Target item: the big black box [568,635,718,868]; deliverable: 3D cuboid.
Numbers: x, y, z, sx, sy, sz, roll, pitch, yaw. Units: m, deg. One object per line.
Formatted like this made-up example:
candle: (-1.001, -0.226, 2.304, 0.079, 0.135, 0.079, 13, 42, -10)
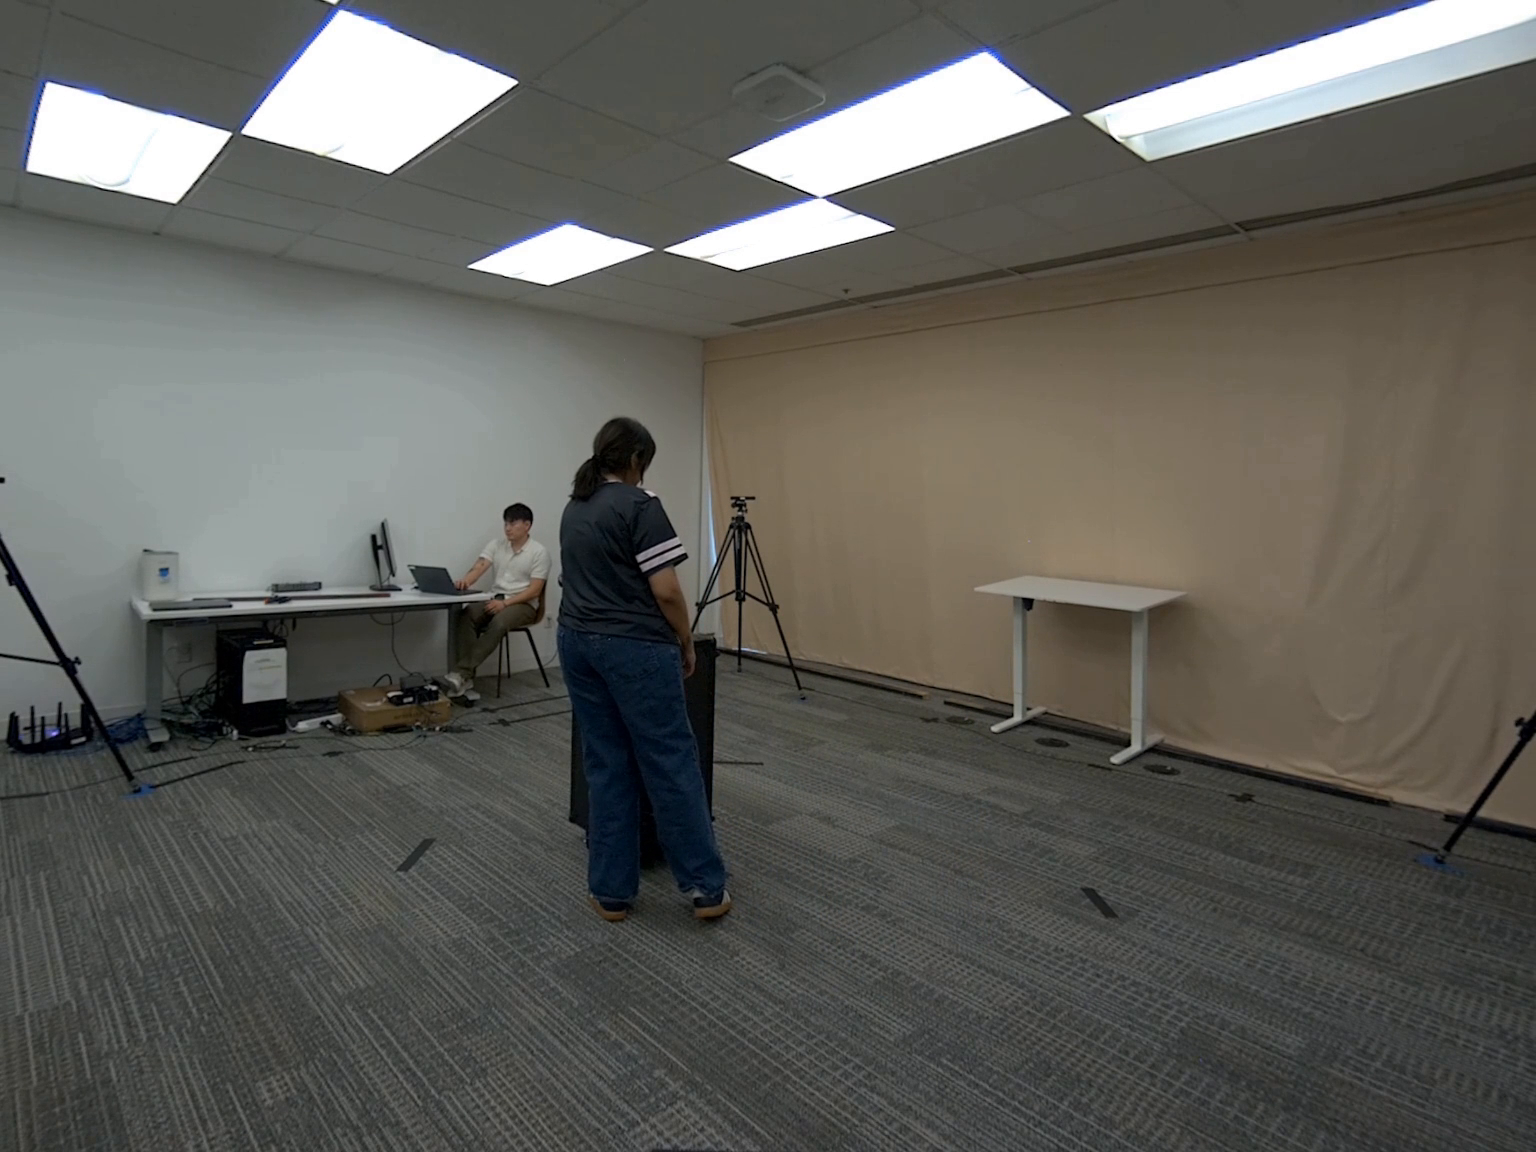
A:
big black box: (-0.512, 0.656, 3.328, 0.376, 0.866, 0.537, 0, 4, -43)
